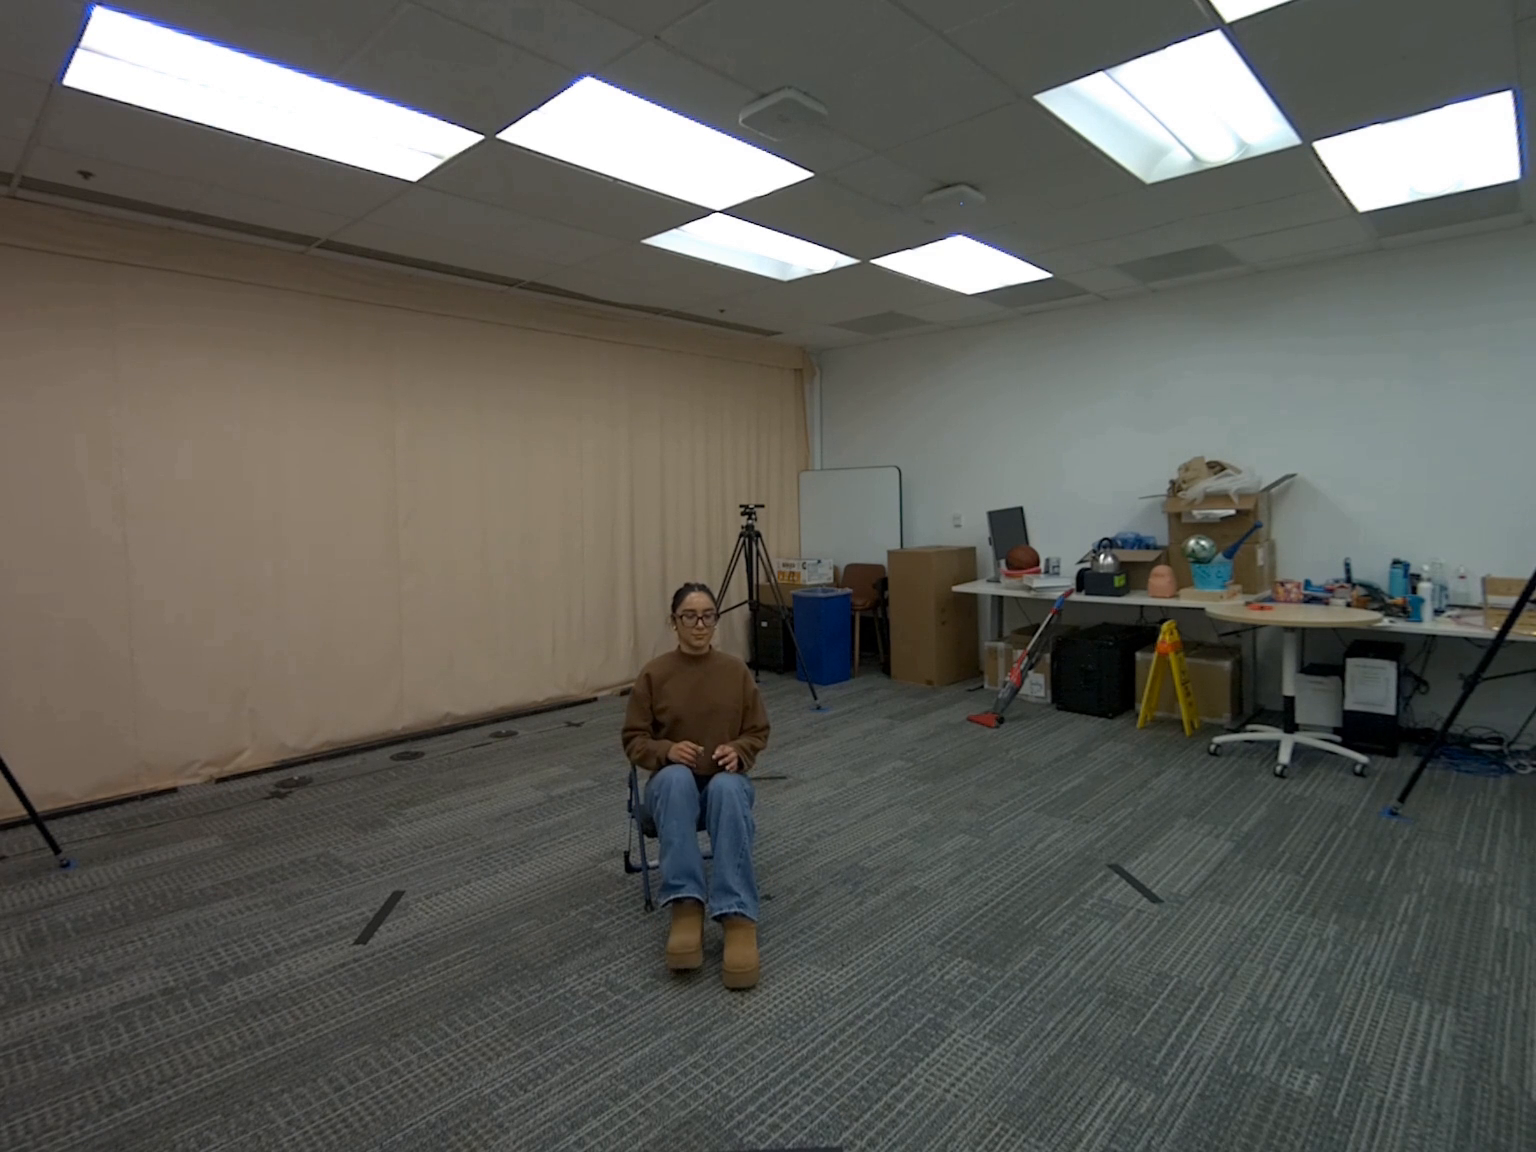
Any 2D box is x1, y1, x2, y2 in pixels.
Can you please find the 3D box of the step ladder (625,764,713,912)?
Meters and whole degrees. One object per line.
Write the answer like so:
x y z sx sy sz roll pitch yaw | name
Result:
-0.298 0.837 3.120 0.421 0.605 0.357 -2 3 -23 | step ladder
